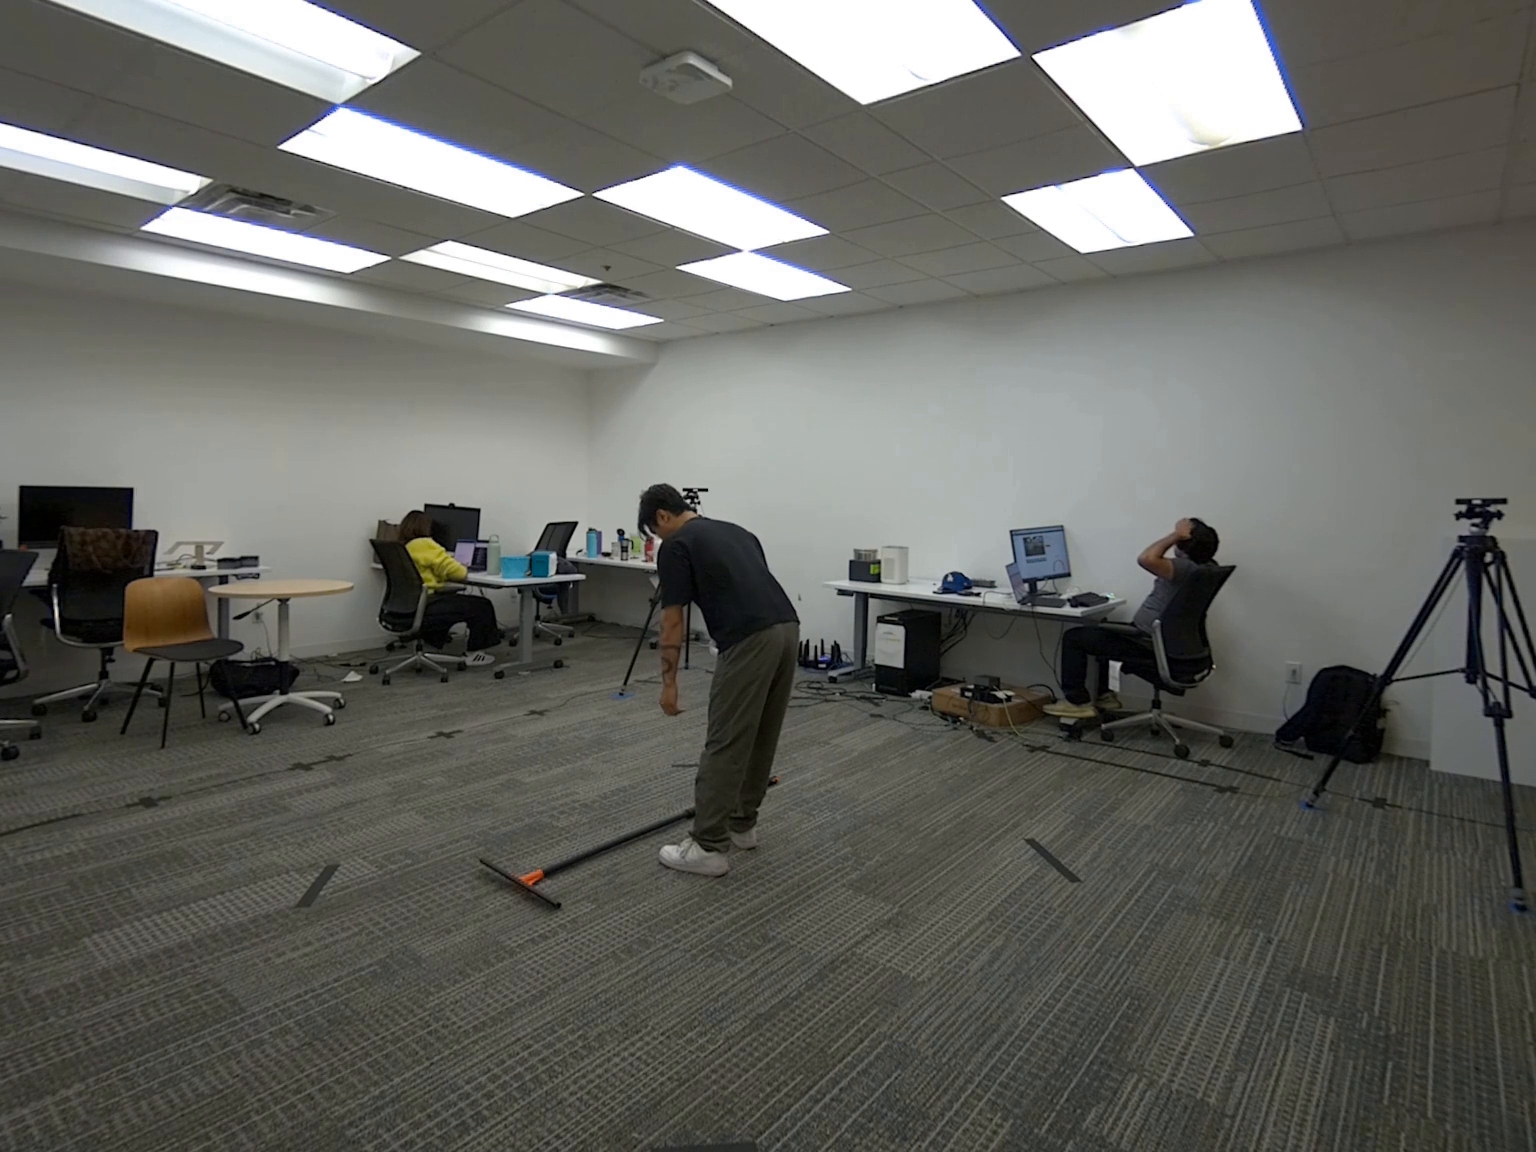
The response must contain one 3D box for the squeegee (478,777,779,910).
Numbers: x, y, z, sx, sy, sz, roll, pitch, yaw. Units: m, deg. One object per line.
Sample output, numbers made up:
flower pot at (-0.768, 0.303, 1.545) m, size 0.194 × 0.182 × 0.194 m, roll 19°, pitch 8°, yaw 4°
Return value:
squeegee at (-0.419, 0.989, 3.484) m, size 0.452 × 0.053 × 1.492 m, roll 7°, pitch 8°, yaw 38°
